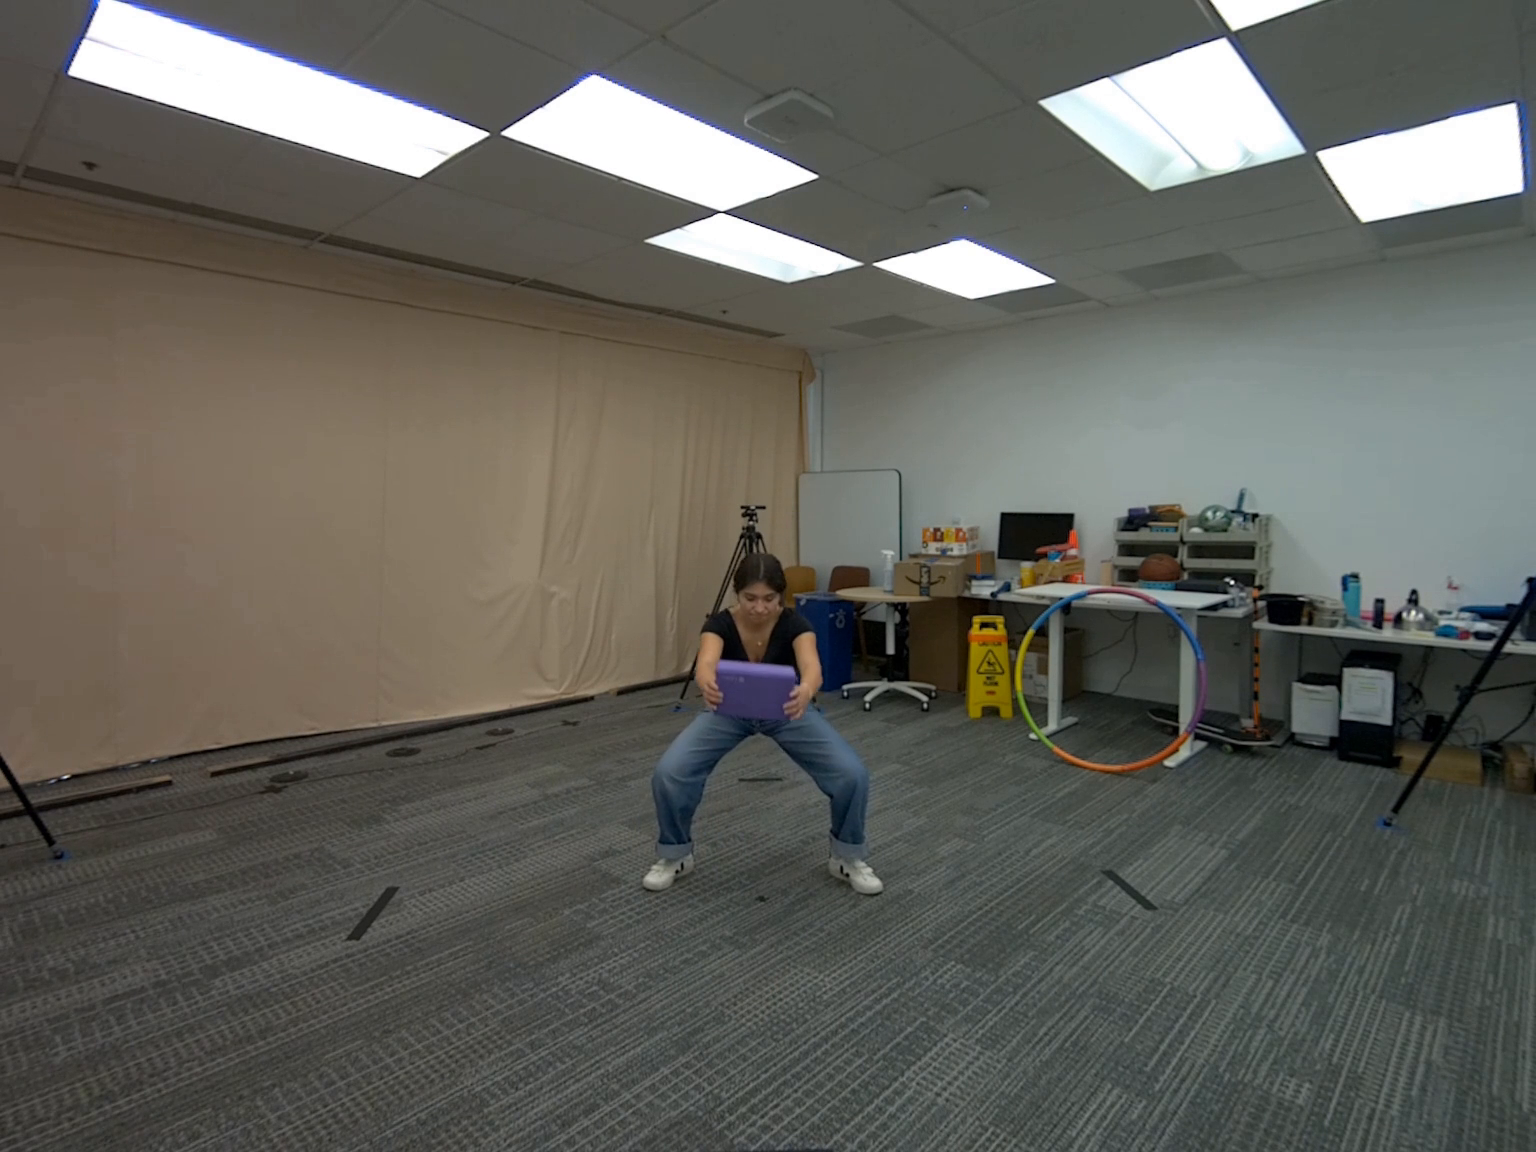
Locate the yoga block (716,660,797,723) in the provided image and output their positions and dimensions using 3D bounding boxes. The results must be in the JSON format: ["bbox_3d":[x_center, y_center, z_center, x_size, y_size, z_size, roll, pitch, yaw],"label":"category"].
[{"bbox_3d":[-0.038,0.314,2.473,0.230,0.148,0.077,5,16,2],"label":"yoga block"}]
